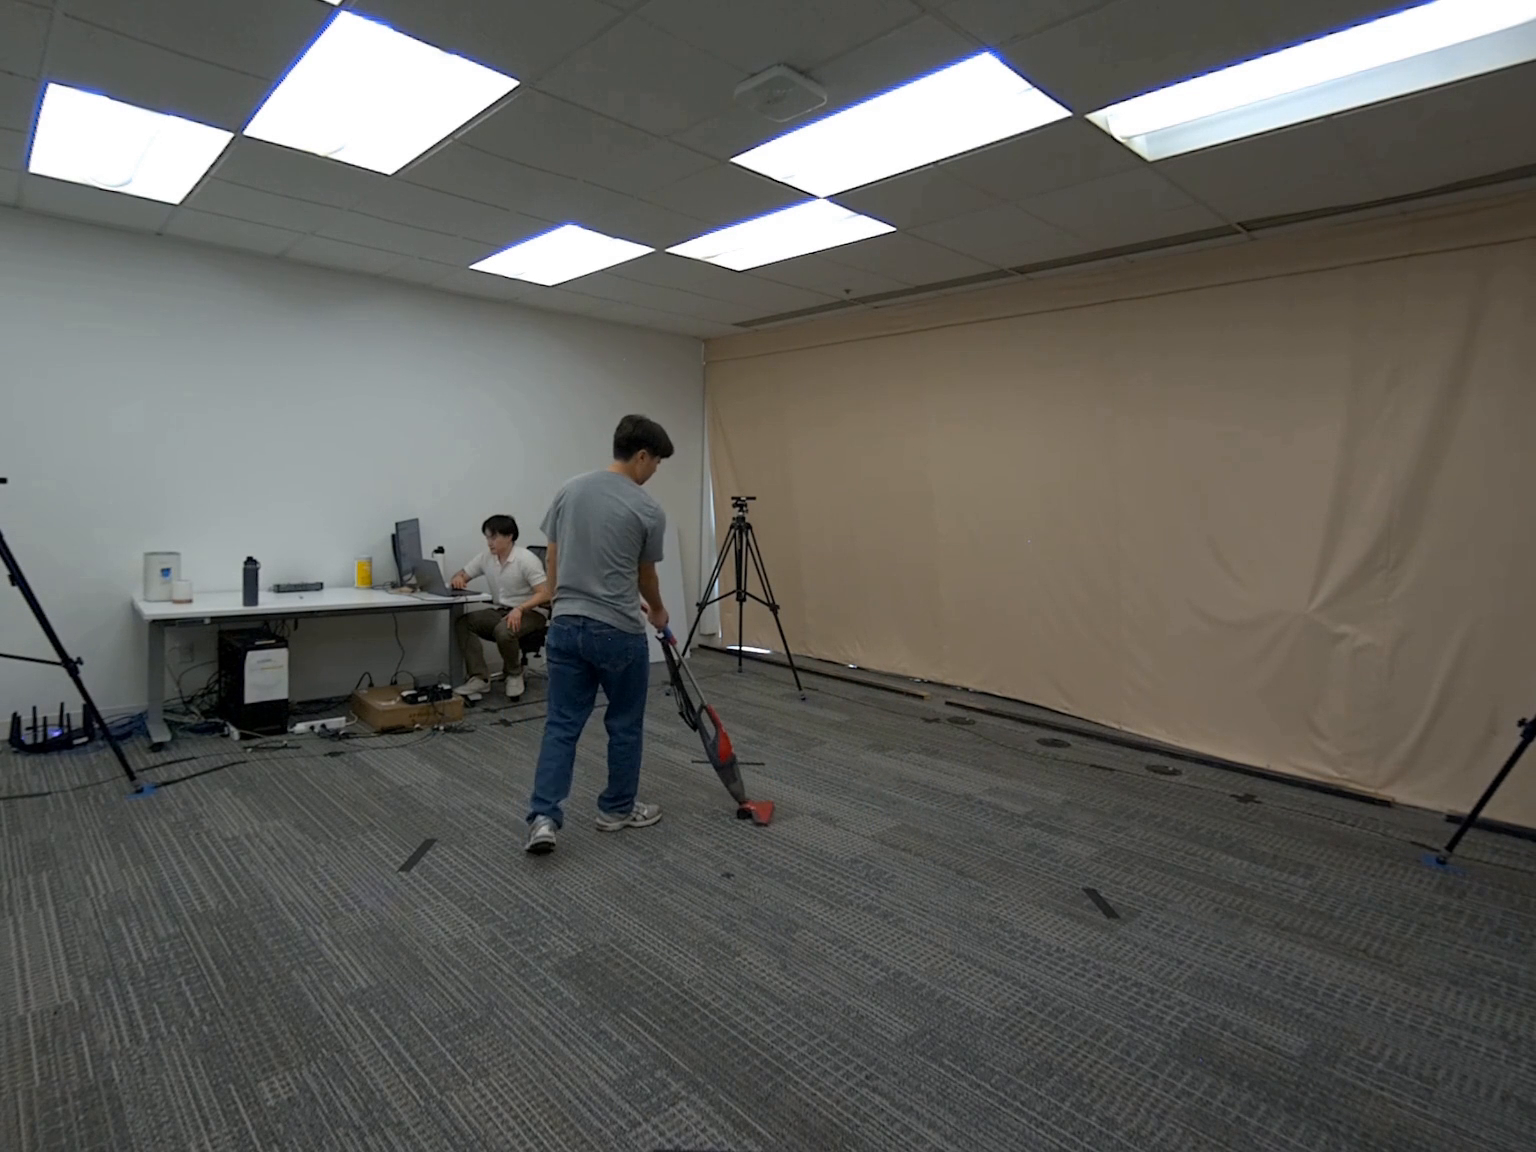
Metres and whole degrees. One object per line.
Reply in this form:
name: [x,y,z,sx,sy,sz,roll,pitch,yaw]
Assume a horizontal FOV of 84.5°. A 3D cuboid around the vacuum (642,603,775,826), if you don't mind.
vacuum: [-0.313,0.591,3.731,0.144,1.053,0.251,-30,-3,7]
